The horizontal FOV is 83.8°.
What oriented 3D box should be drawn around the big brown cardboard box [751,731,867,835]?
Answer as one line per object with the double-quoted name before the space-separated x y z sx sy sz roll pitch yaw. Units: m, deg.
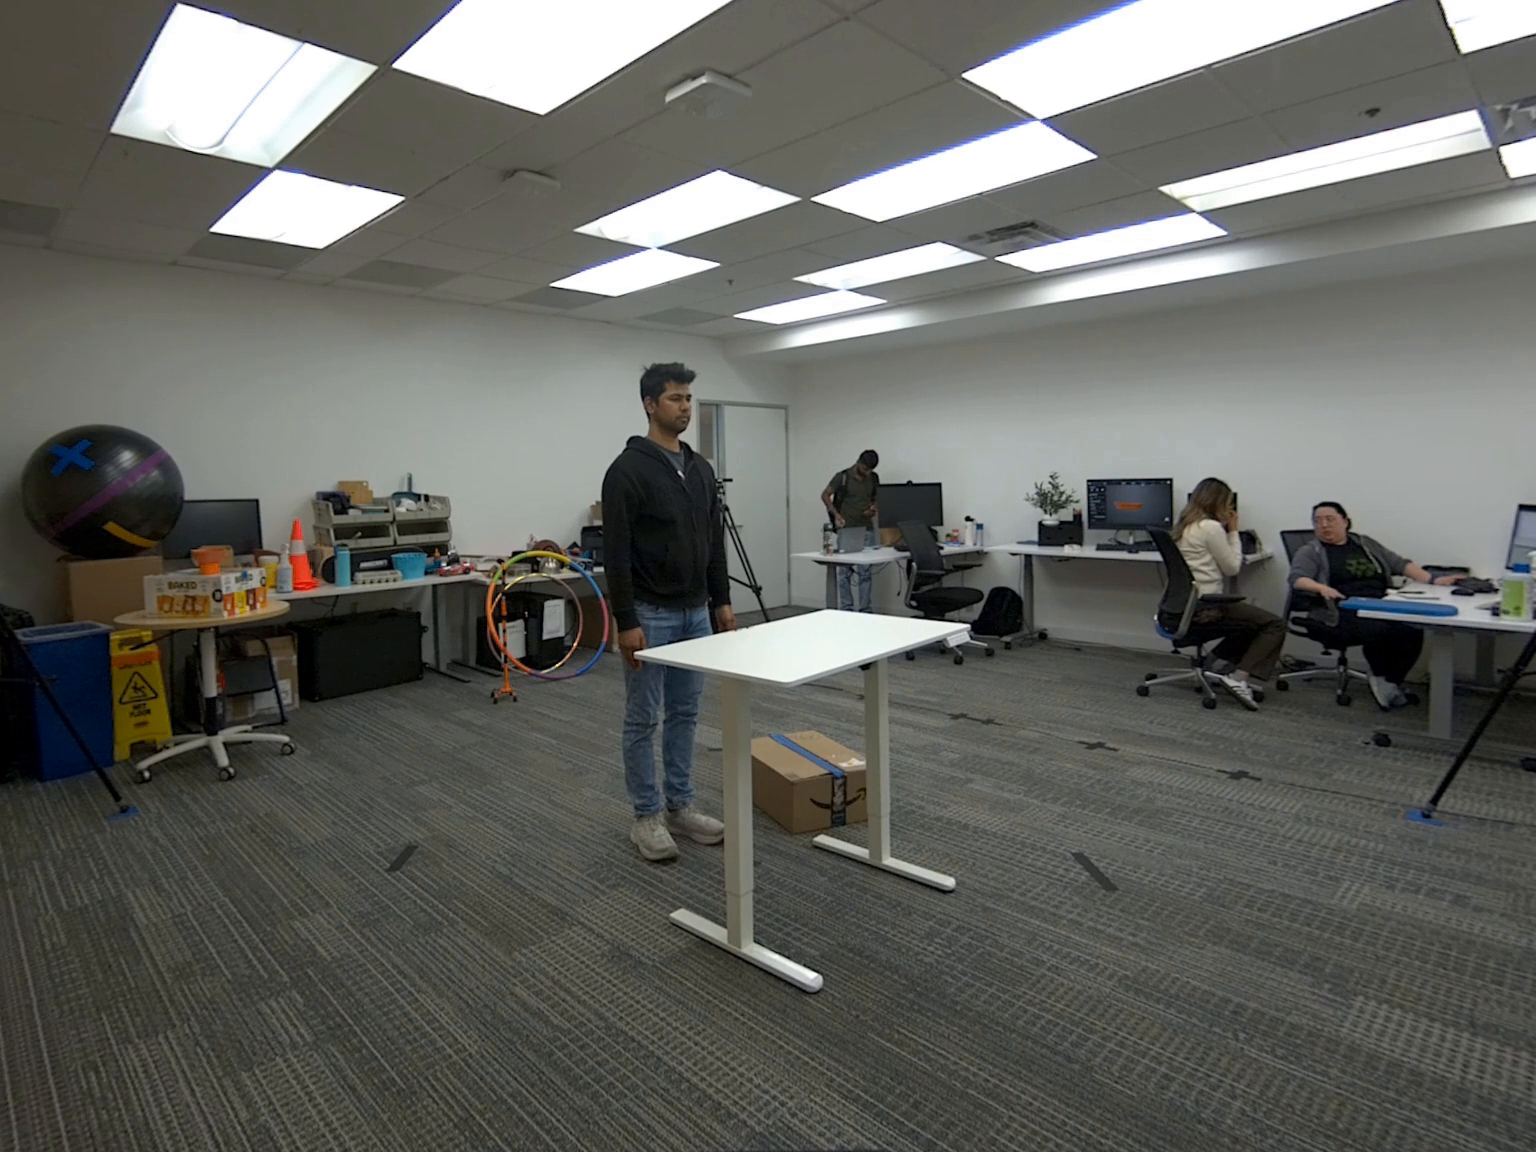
"big brown cardboard box" 0.159 0.867 3.671 0.409 0.232 0.604 -4 6 -26
